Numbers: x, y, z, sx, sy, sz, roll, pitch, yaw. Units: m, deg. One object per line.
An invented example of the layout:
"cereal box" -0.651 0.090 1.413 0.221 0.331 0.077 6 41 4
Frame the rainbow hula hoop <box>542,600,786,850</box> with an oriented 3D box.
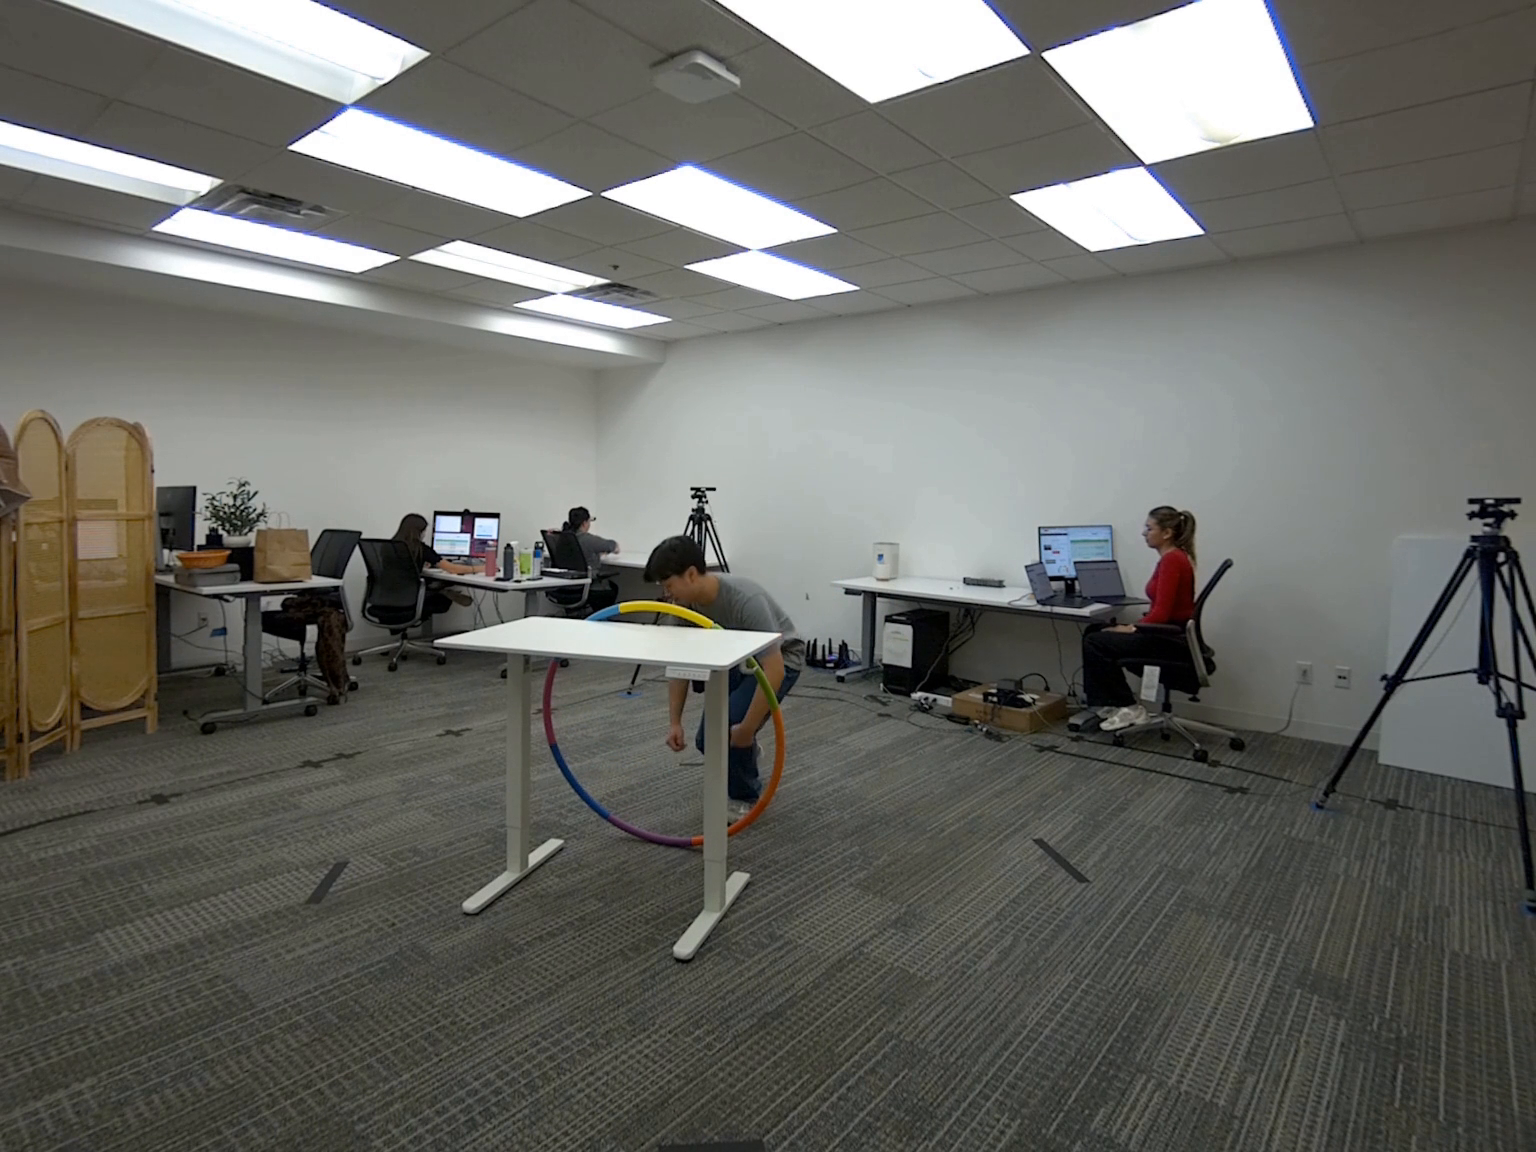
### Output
"rainbow hula hoop" -0.425 0.572 3.222 0.998 0.966 0.035 3 13 19
